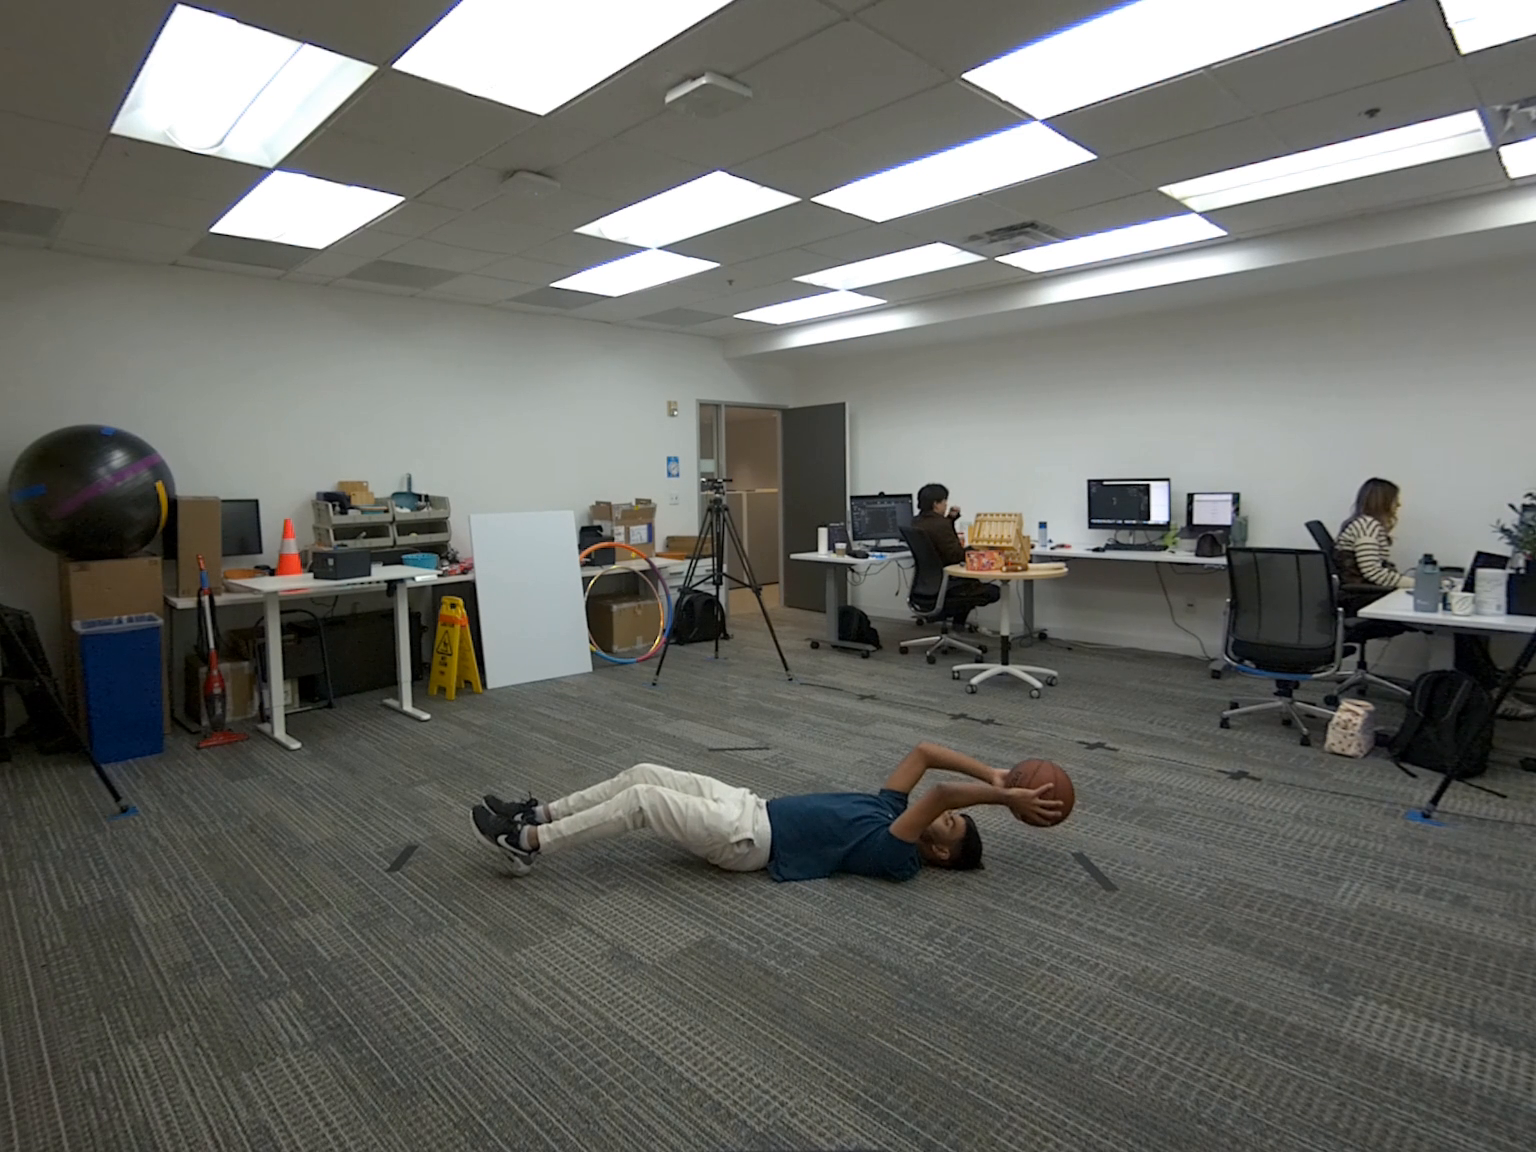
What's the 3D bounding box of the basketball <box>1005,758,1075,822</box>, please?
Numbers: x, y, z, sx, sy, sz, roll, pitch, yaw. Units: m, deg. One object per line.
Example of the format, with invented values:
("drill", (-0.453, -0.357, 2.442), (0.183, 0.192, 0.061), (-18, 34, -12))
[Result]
("basketball", (0.979, 0.772, 3.075), (0.236, 0.235, 0.237), (-1, 5, -2))
